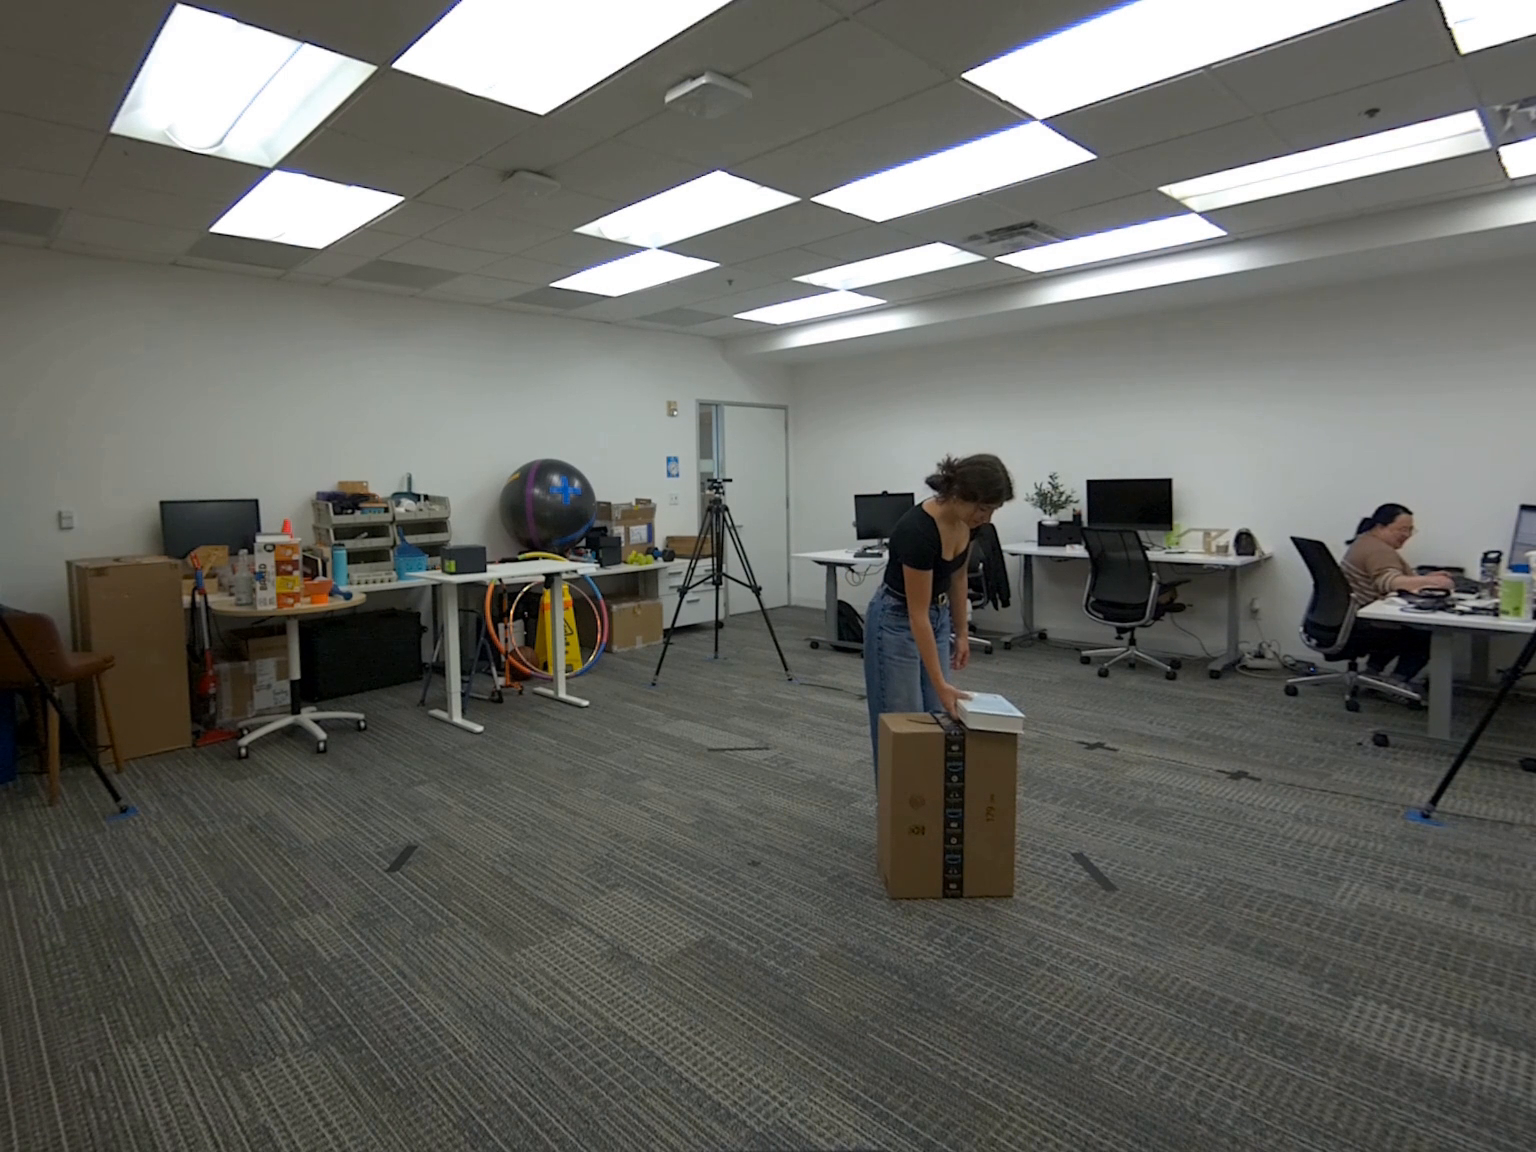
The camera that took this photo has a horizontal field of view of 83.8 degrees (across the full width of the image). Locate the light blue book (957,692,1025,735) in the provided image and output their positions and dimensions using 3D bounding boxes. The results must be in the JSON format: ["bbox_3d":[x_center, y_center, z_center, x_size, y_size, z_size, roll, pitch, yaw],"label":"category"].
[{"bbox_3d":[0.738,0.458,2.882,0.191,0.059,0.262,5,7,-1],"label":"light blue book"}]
